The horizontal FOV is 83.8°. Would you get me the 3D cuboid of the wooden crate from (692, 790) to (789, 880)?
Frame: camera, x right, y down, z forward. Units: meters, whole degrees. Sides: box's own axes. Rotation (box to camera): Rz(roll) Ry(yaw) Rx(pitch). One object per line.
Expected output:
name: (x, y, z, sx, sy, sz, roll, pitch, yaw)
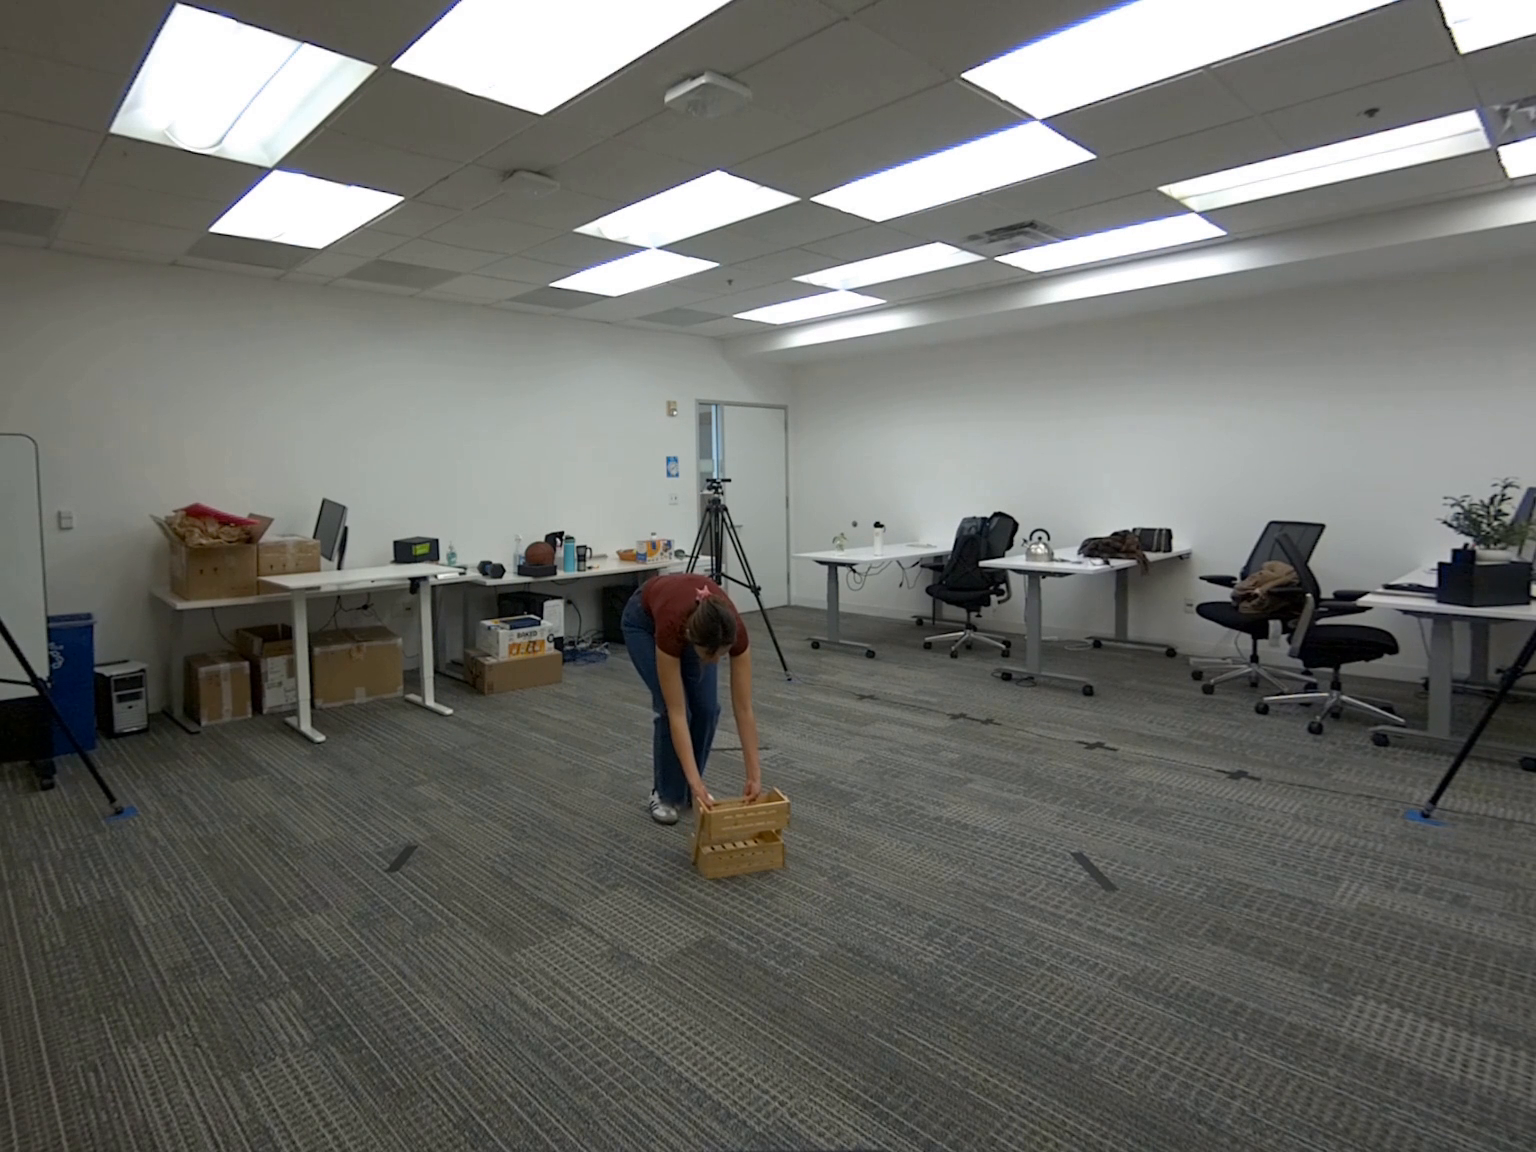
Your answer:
wooden crate: (-0.109, 0.910, 3.112, 0.319, 0.272, 0.308, -2, 6, -19)
